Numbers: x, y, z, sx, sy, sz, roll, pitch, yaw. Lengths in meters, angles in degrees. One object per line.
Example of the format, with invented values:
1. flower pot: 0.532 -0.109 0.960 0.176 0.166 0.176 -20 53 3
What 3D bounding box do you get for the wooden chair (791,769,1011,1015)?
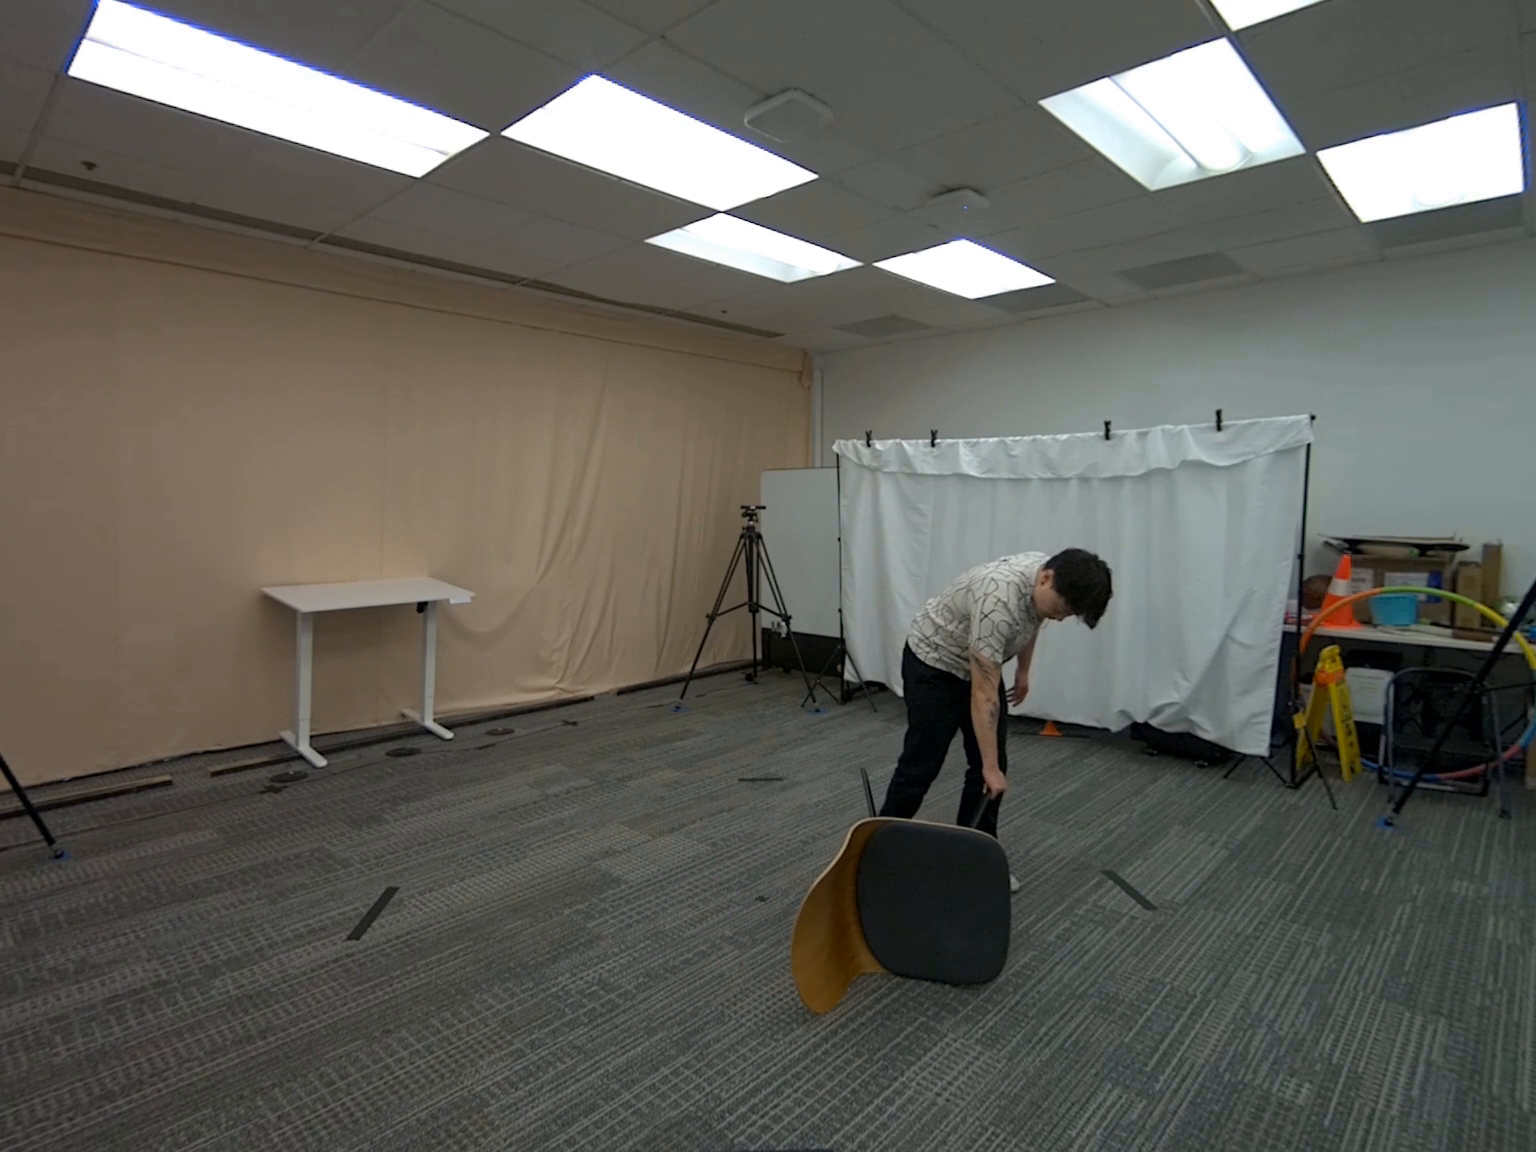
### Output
1. wooden chair: 0.459 0.953 2.507 0.535 0.477 0.860 2 5 21
